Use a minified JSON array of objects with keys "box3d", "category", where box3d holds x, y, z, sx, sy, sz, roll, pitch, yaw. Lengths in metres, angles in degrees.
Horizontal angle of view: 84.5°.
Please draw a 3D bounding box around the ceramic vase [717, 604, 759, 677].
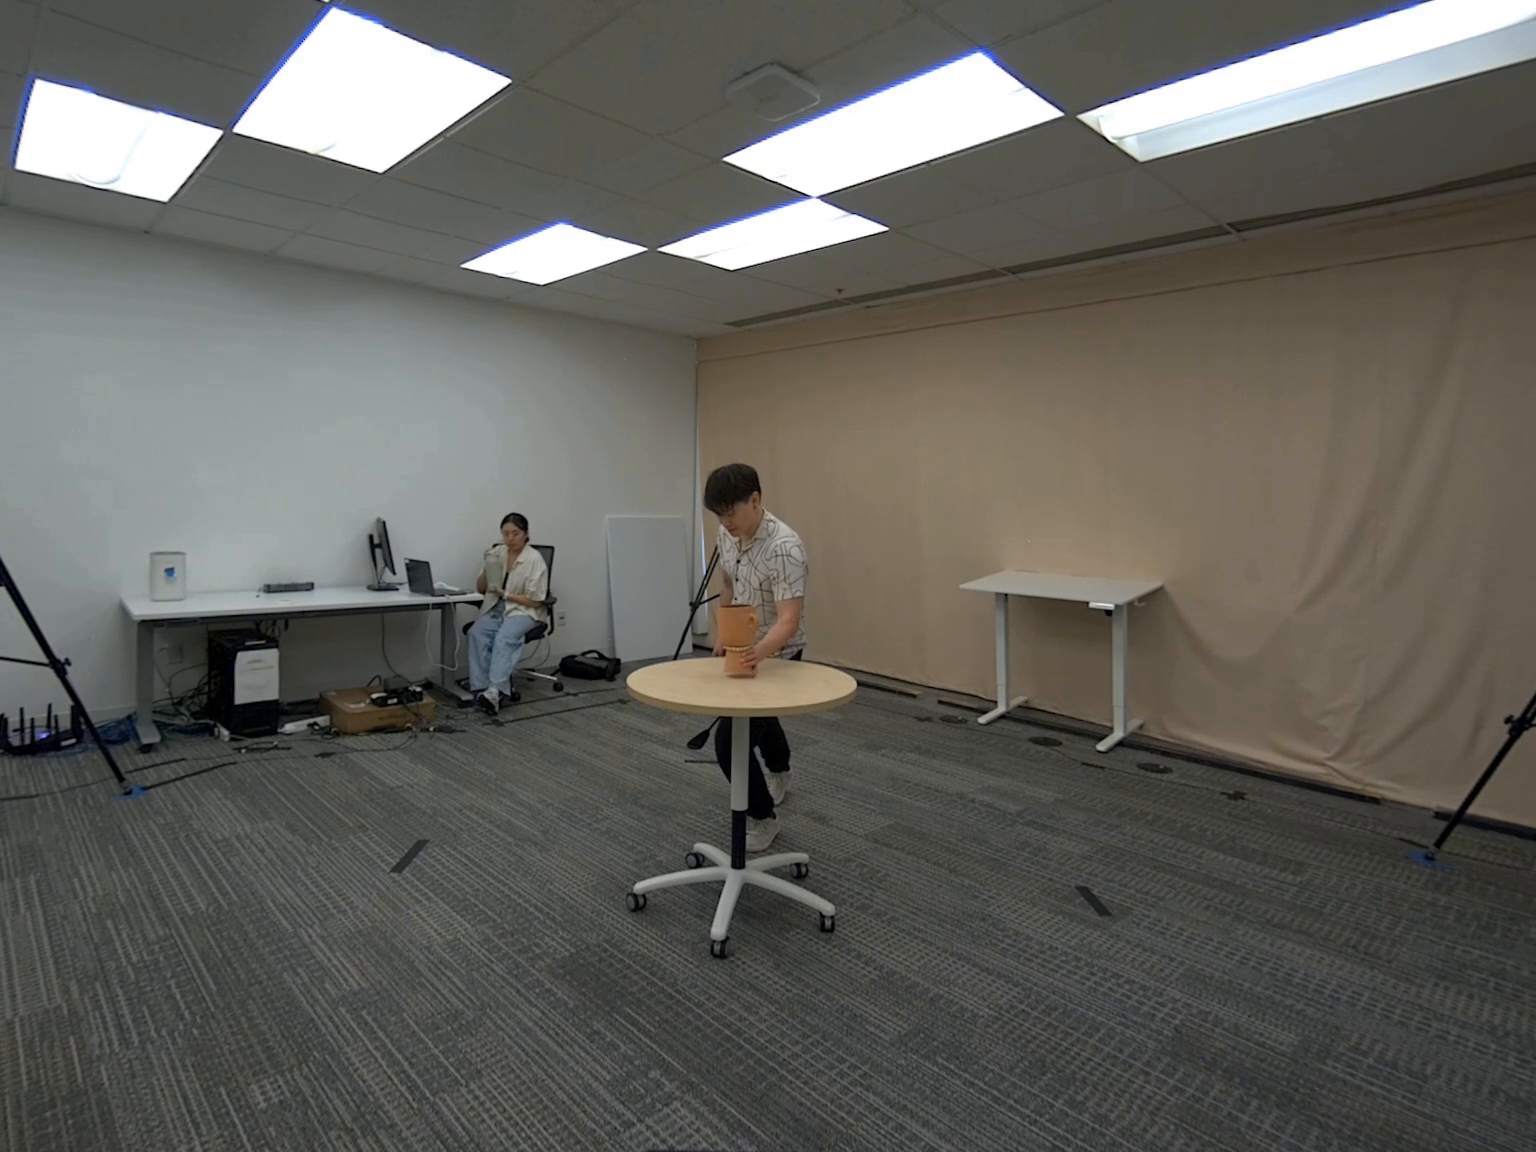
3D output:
[{"box3d":[-0.112,0.208,2.859,0.134,0.219,0.159,-1,2,-5],"category":"ceramic vase"}]
